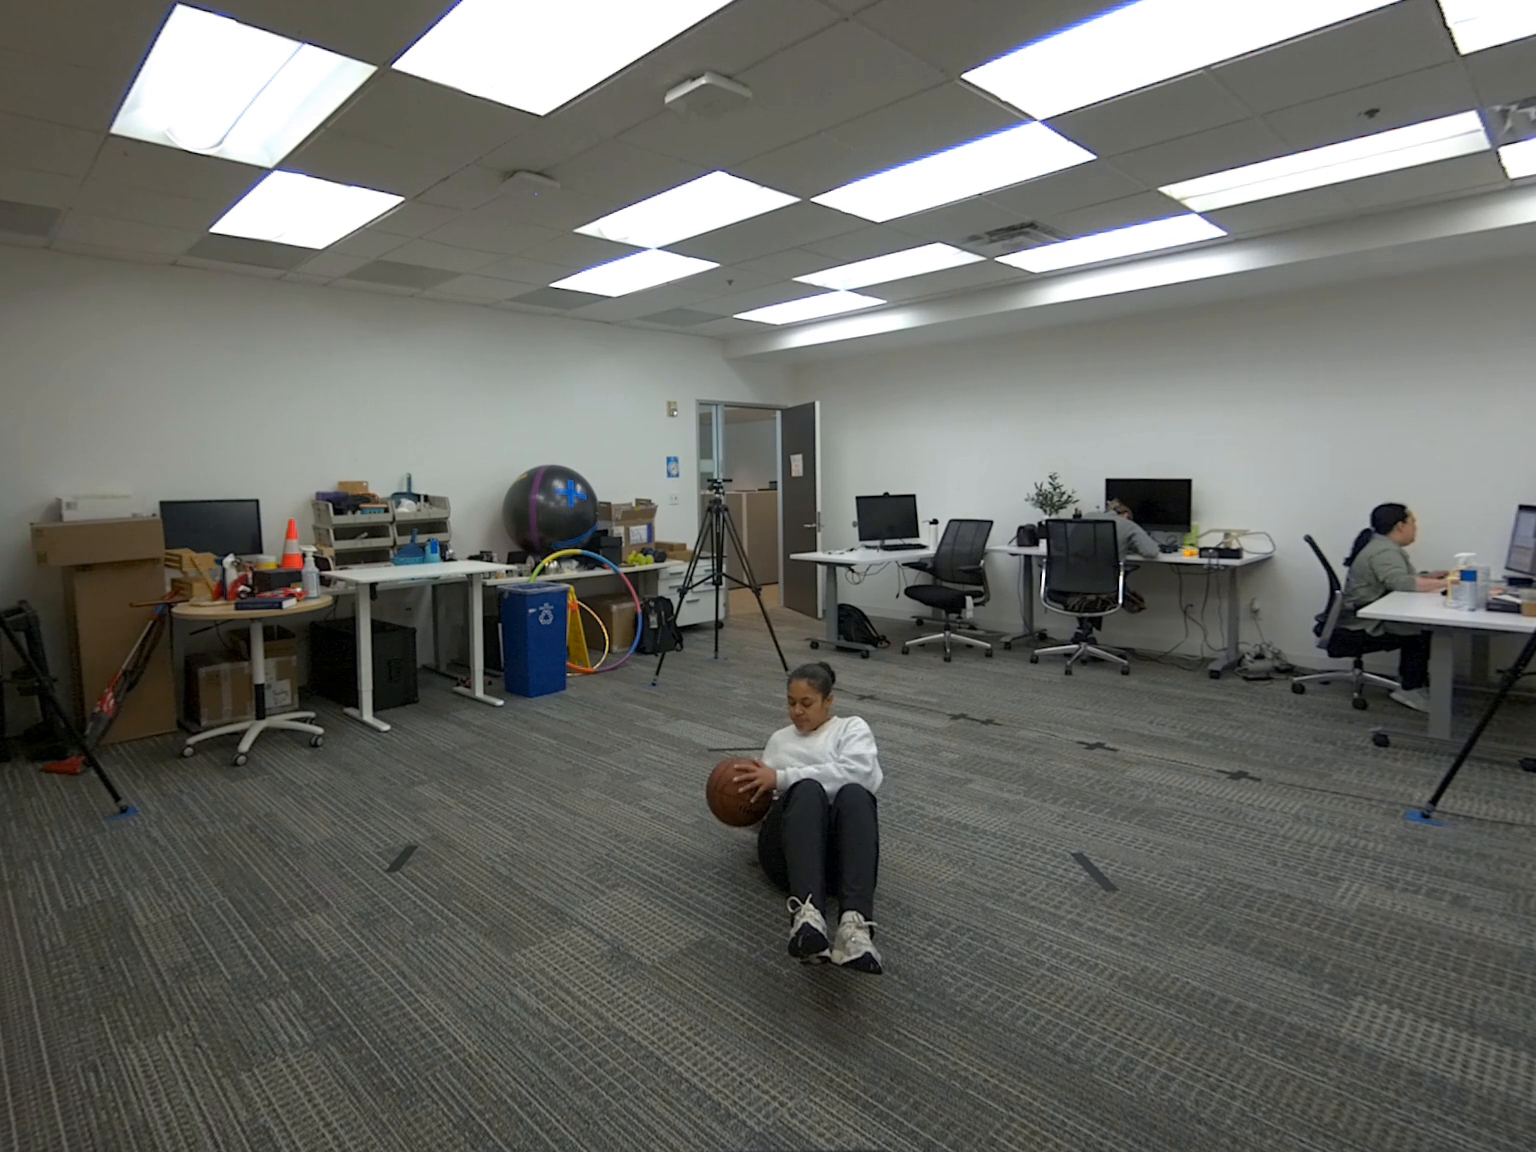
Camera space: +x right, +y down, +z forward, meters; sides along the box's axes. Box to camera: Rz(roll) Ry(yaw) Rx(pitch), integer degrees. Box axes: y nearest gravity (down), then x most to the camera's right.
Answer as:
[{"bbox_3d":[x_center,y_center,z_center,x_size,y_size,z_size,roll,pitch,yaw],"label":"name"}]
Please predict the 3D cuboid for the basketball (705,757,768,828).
[{"bbox_3d":[-0.072,0.747,2.999,0.236,0.235,0.237,-1,5,-2],"label":"basketball"}]
